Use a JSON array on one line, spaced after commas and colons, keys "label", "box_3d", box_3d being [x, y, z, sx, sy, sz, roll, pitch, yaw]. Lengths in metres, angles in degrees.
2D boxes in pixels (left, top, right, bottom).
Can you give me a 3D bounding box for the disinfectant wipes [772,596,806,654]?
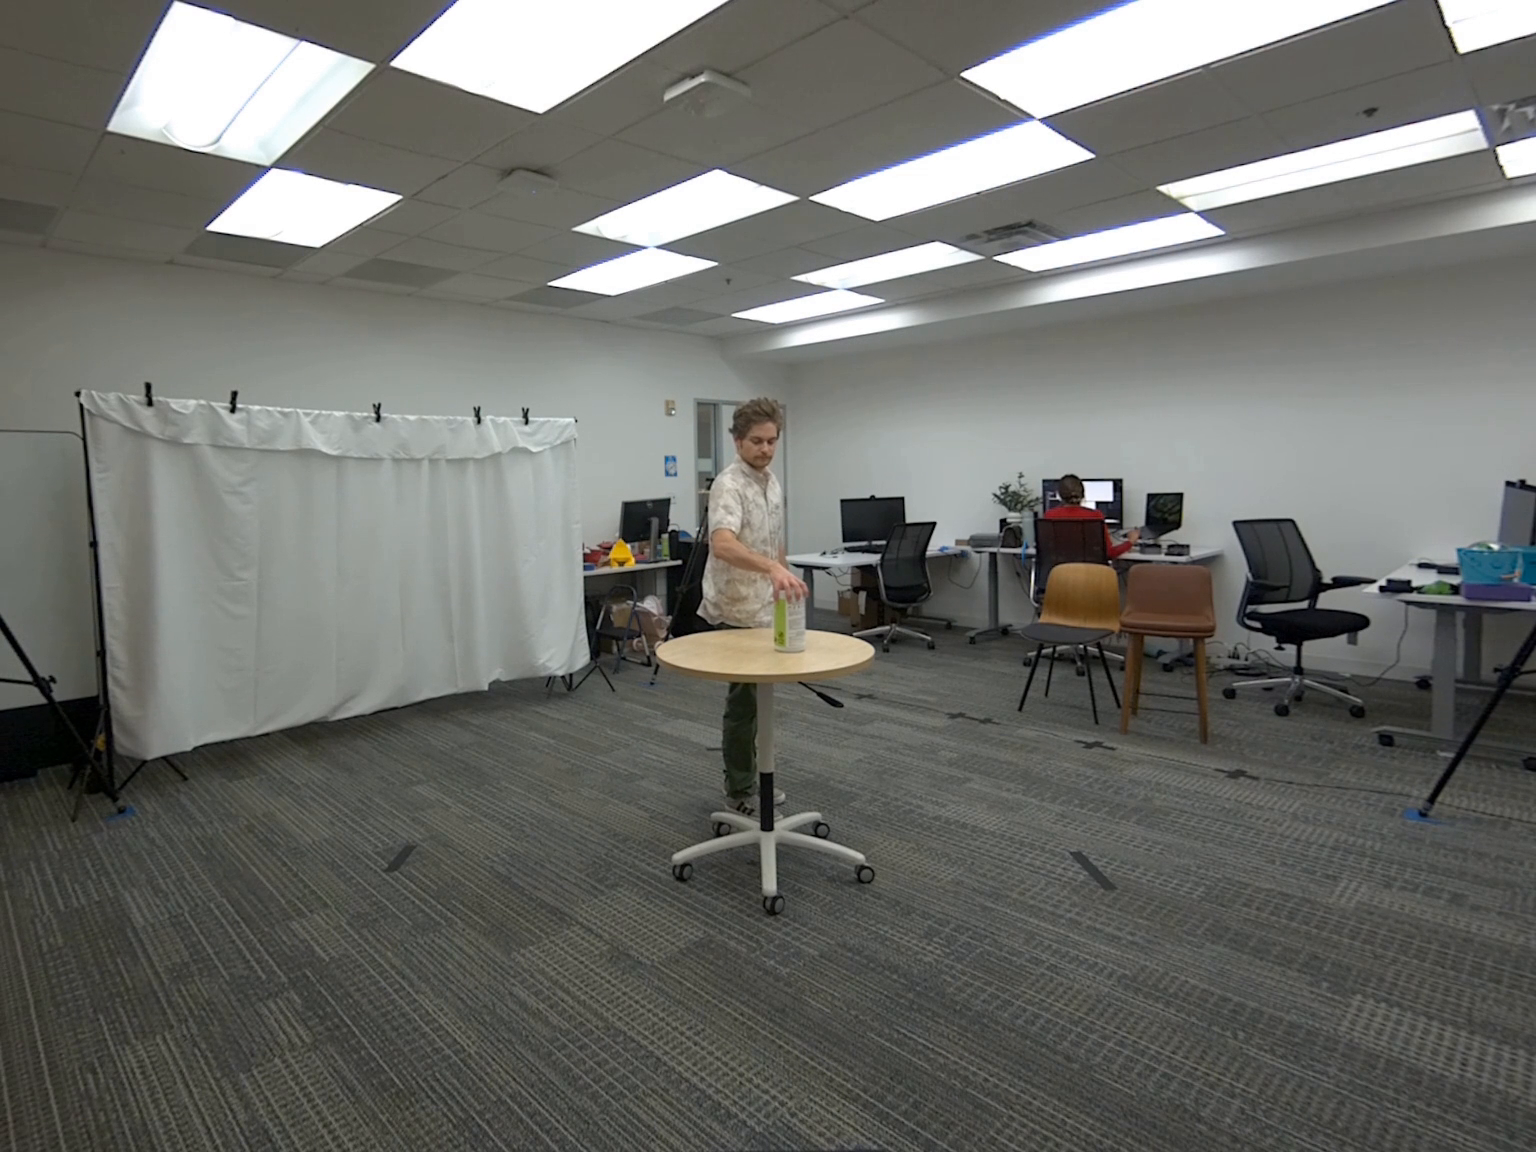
[{"label": "disinfectant wipes", "box_3d": [0.078, 0.155, 2.985, 0.118, 0.217, 0.118, -1, 4, -2]}]
